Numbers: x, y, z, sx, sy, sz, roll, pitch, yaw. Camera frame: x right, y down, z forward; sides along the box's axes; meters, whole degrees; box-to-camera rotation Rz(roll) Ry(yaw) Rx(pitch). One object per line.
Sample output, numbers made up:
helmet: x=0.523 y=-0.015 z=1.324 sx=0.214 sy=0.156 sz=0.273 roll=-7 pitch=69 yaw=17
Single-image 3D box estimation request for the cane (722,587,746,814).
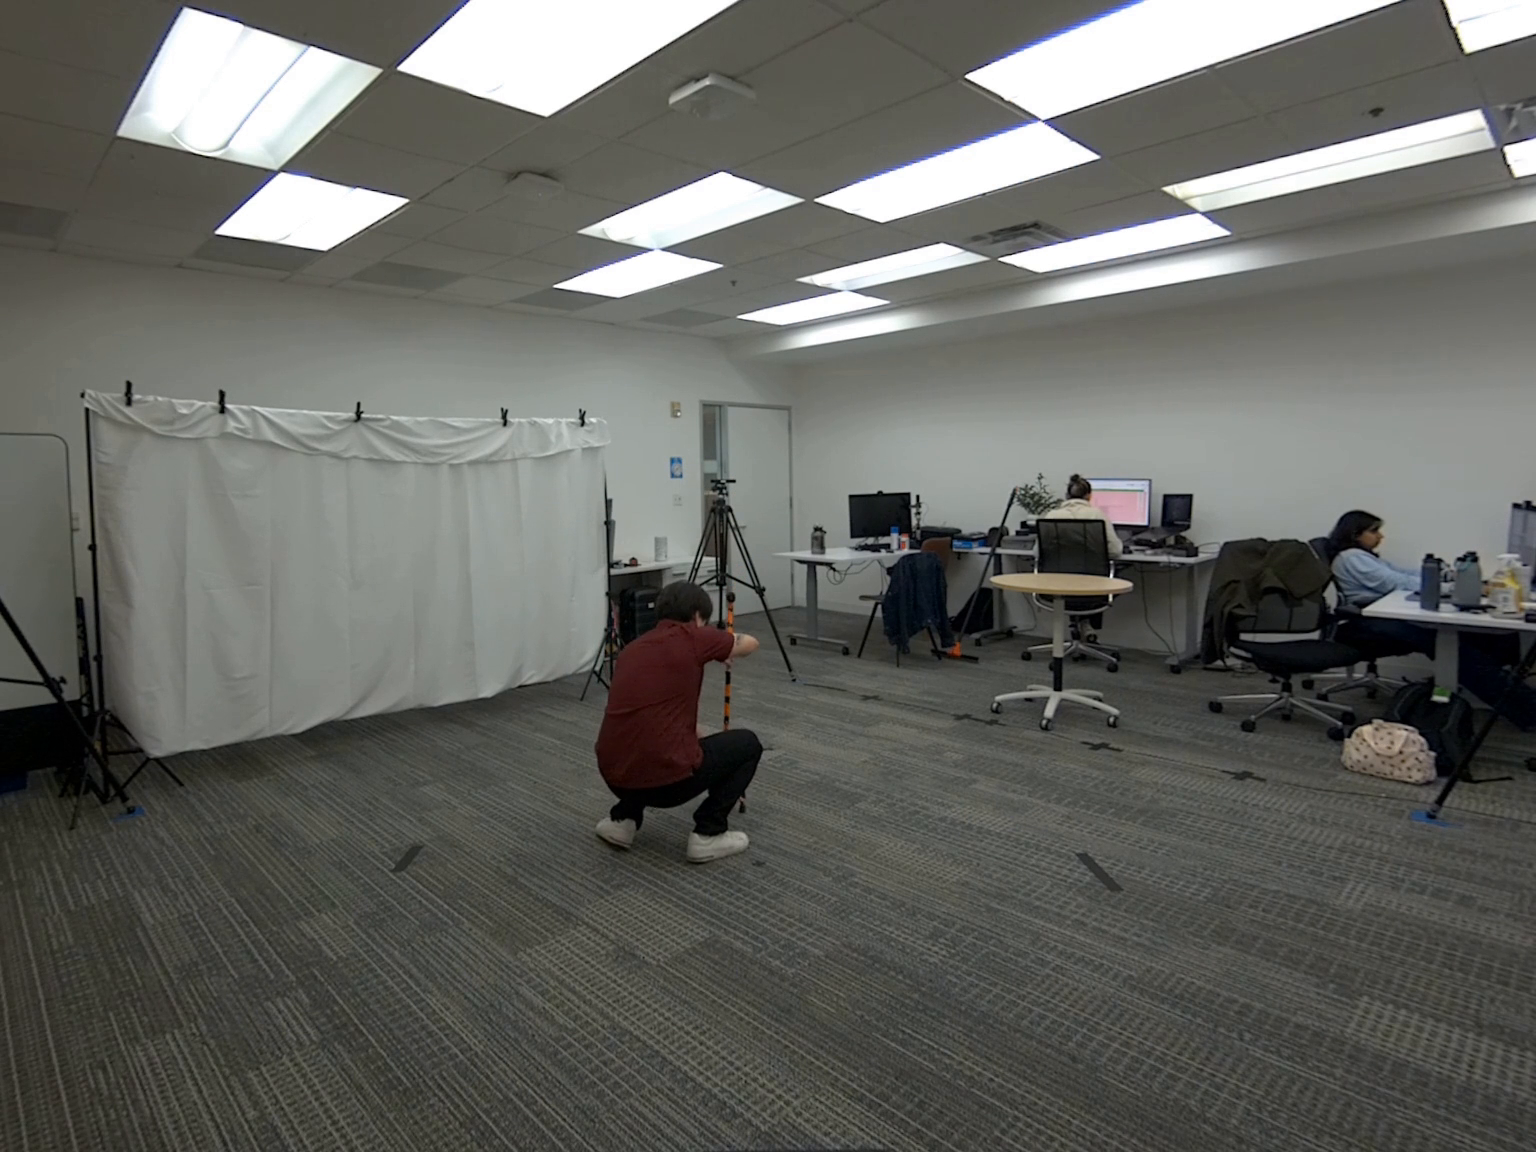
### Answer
cane: x=-0.162 y=0.517 z=3.673 sx=0.151 sy=0.907 sz=0.207 roll=0 pitch=2 yaw=-4
